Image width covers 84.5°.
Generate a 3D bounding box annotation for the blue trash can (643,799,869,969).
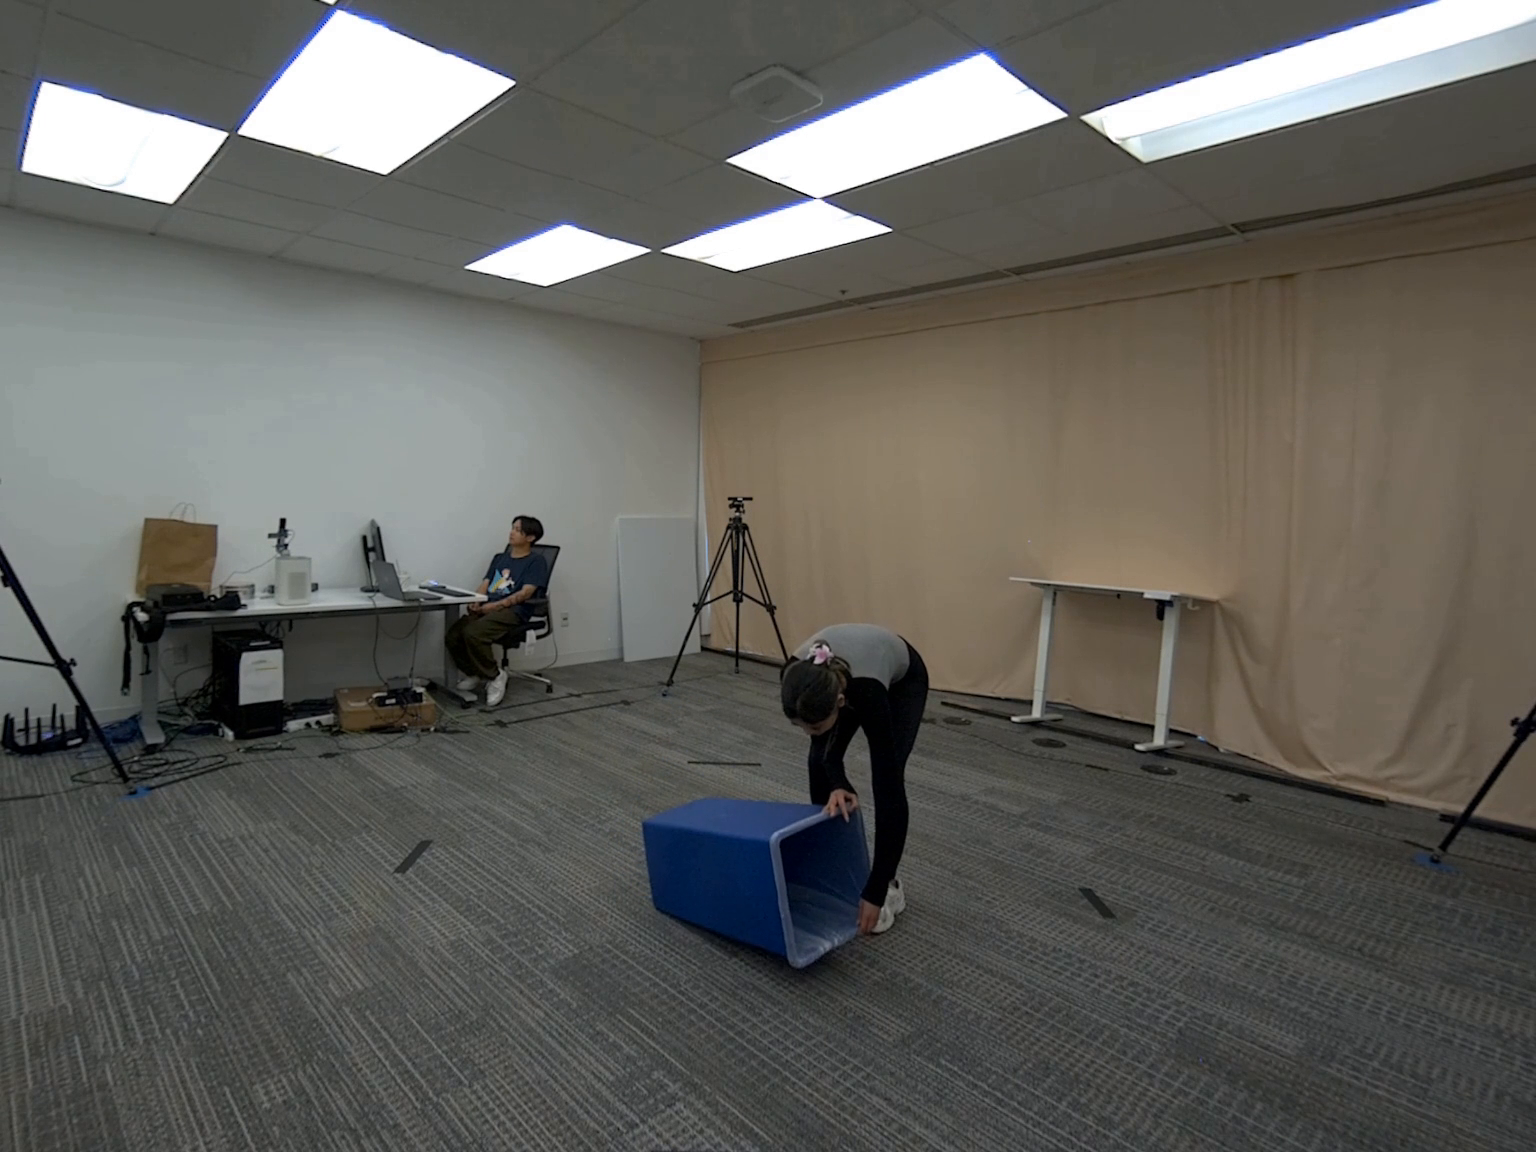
[{"bbox_3d":[-0.075,0.914,2.677,0.370,0.375,0.727,-7,-2,-42],"label":"blue trash can"}]
